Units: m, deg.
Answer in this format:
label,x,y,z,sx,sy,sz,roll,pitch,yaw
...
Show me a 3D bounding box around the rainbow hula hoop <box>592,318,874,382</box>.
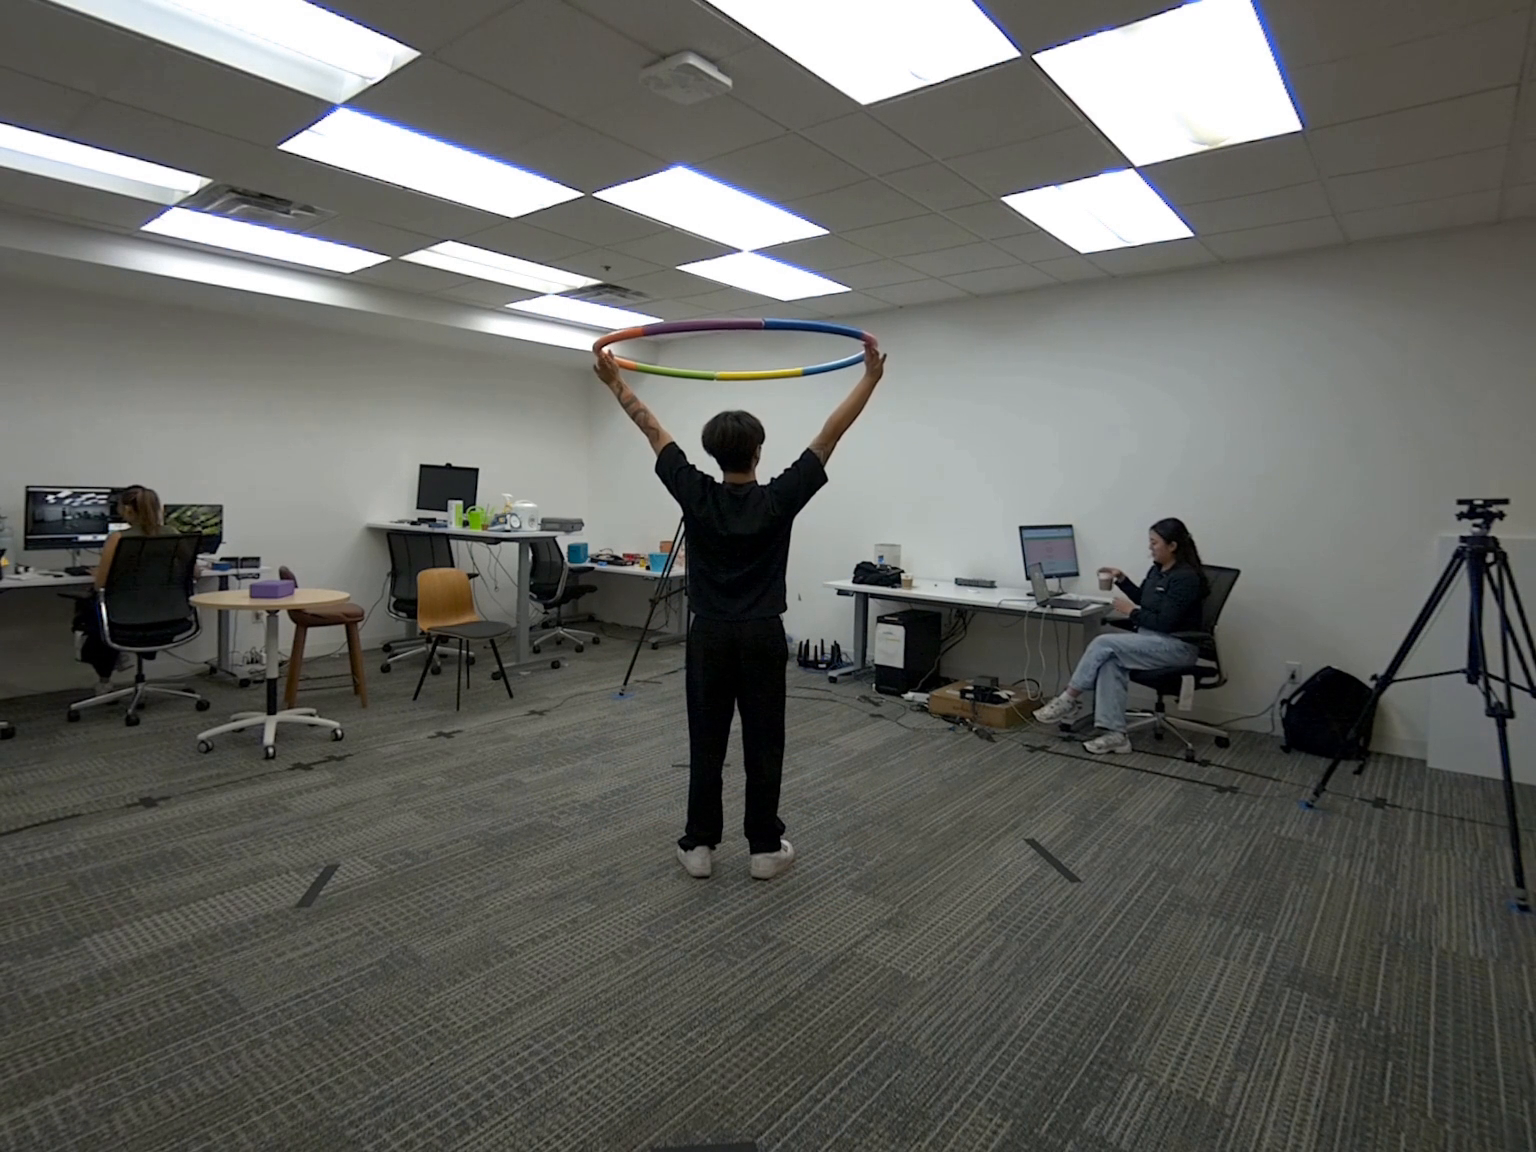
label,x,y,z,sx,sy,sz,roll,pitch,yaw
rainbow hula hoop,-0.122,-0.788,3.014,0.978,0.035,0.982,0,4,-2
